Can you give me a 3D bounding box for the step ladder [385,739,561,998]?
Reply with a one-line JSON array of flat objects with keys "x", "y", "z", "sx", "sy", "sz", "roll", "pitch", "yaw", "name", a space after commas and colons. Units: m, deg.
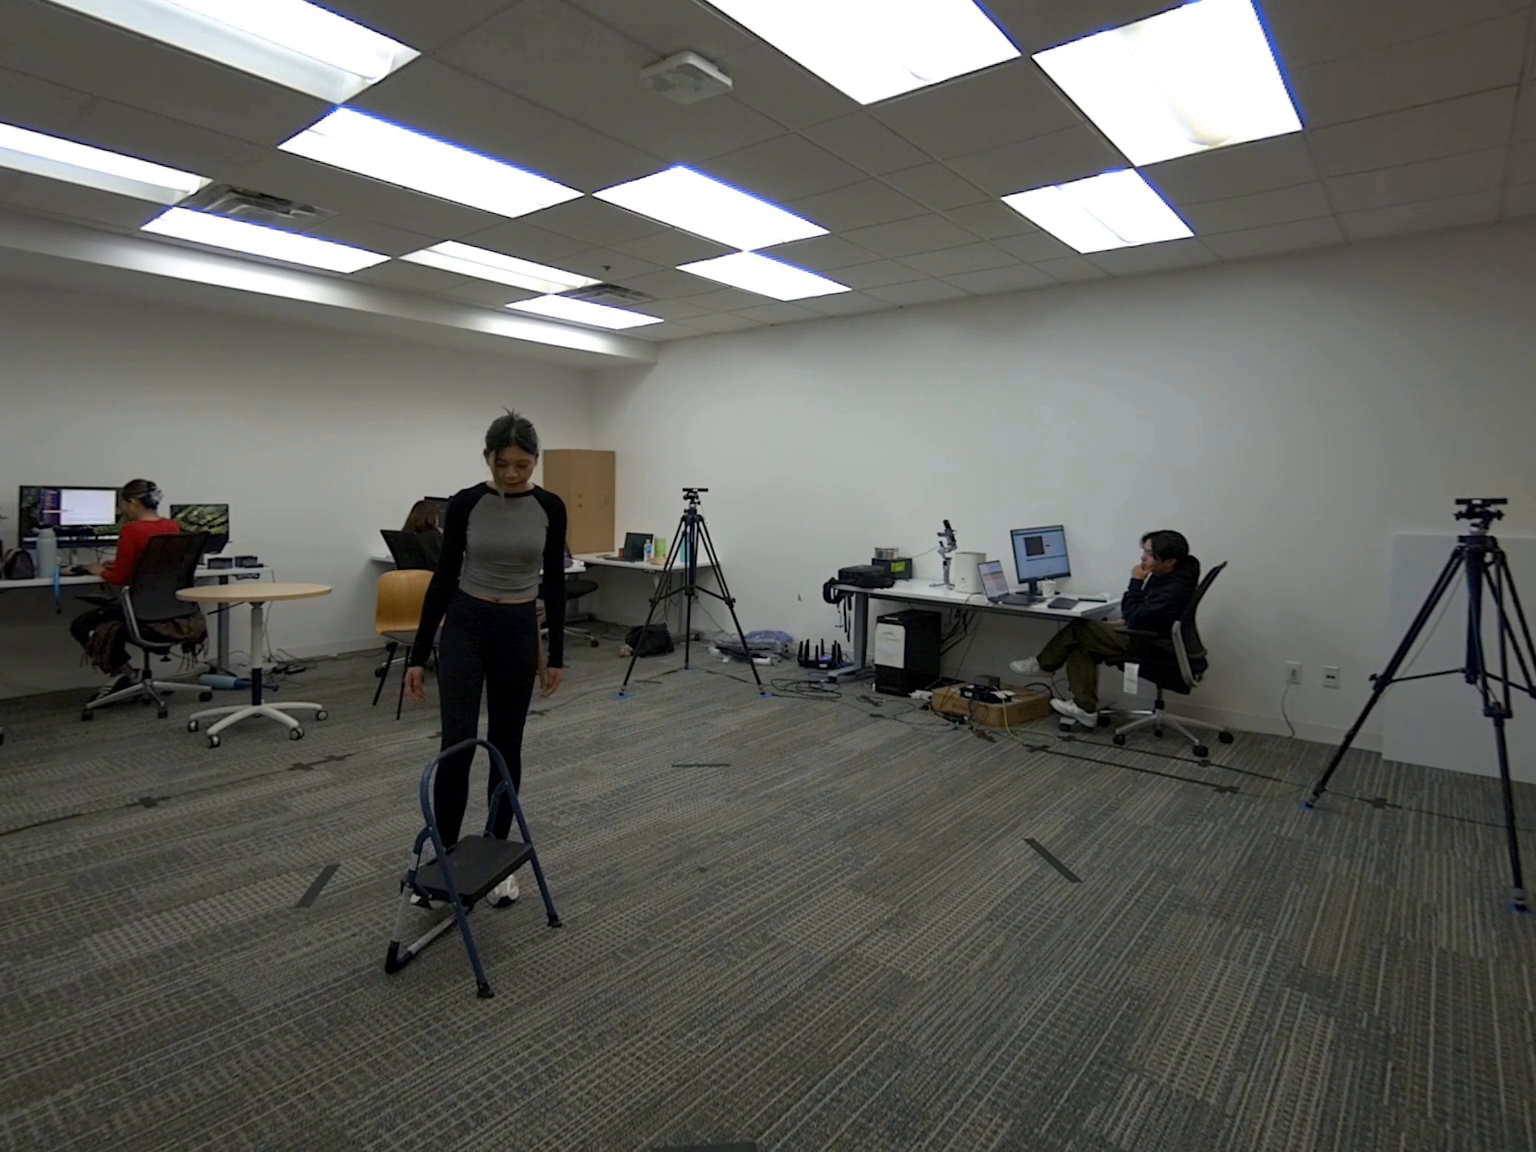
[{"x": -0.873, "y": 0.824, "z": 2.534, "sx": 0.355, "sy": 0.604, "sz": 0.425, "roll": 2, "pitch": 5, "yaw": 15, "name": "step ladder"}]
